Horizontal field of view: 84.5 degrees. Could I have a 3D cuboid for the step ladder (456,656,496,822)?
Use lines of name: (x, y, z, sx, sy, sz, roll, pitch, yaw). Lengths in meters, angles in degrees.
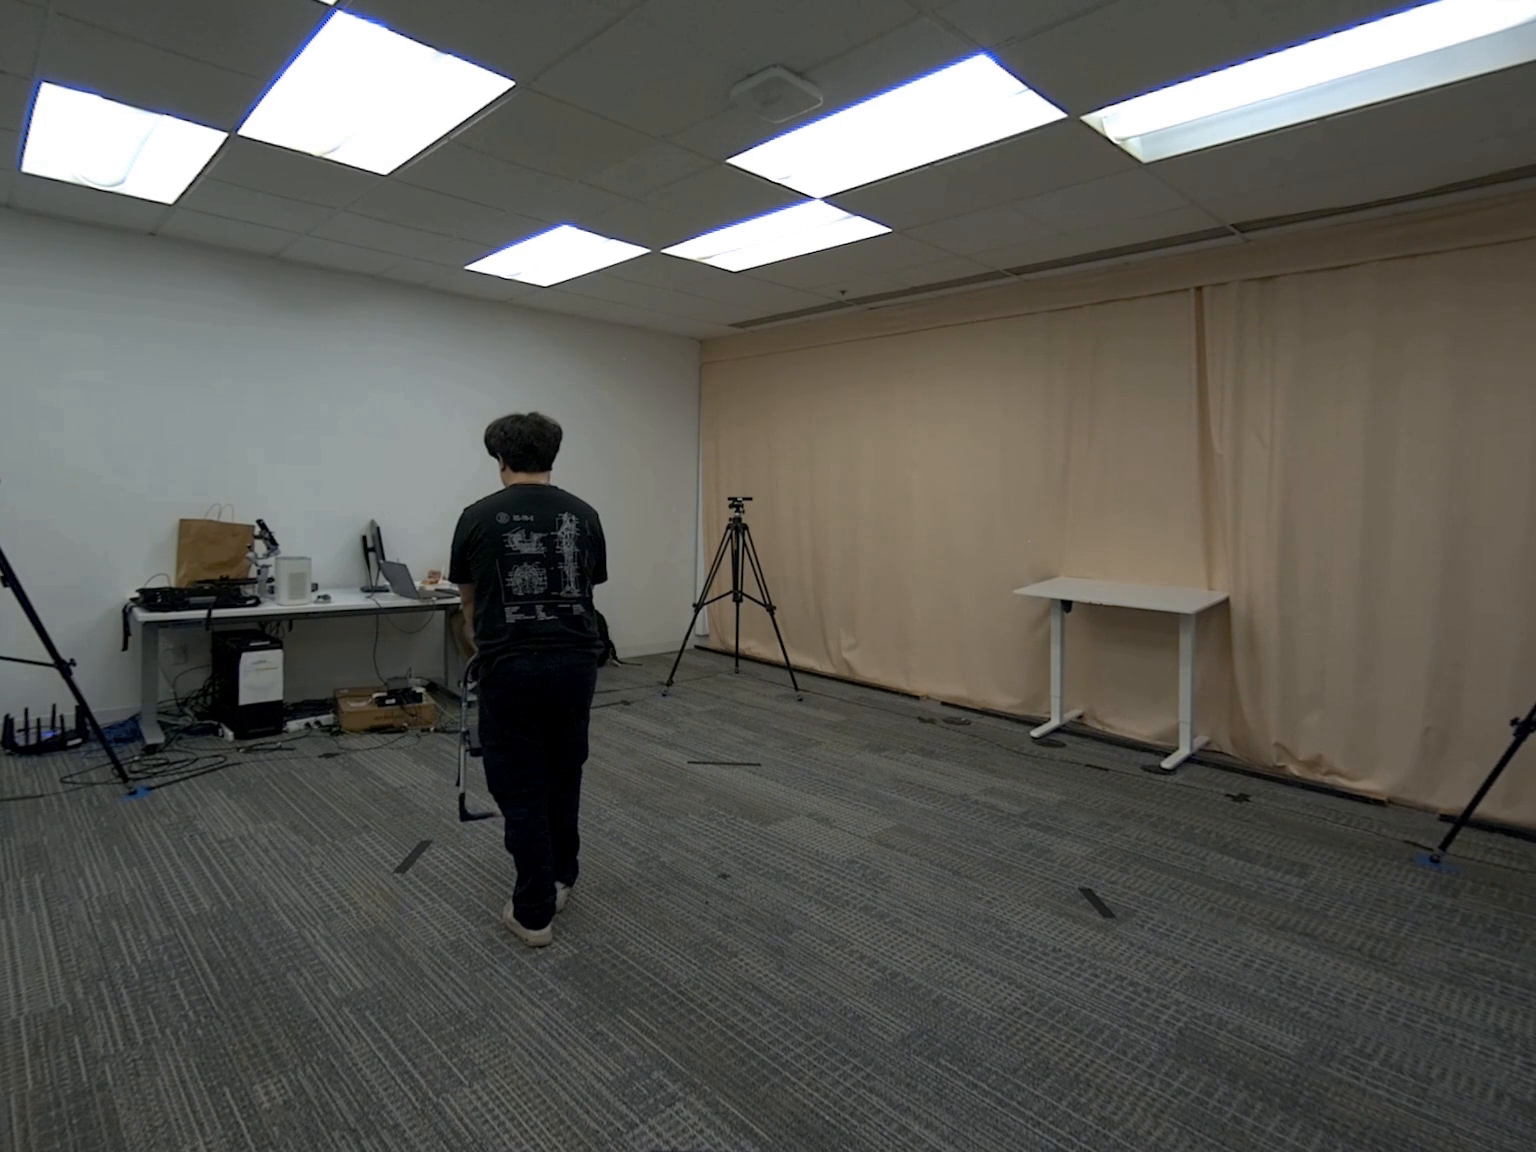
step ladder: (-0.924, 0.537, 3.087, 0.424, 0.603, 0.357, 1, 8, -22)
